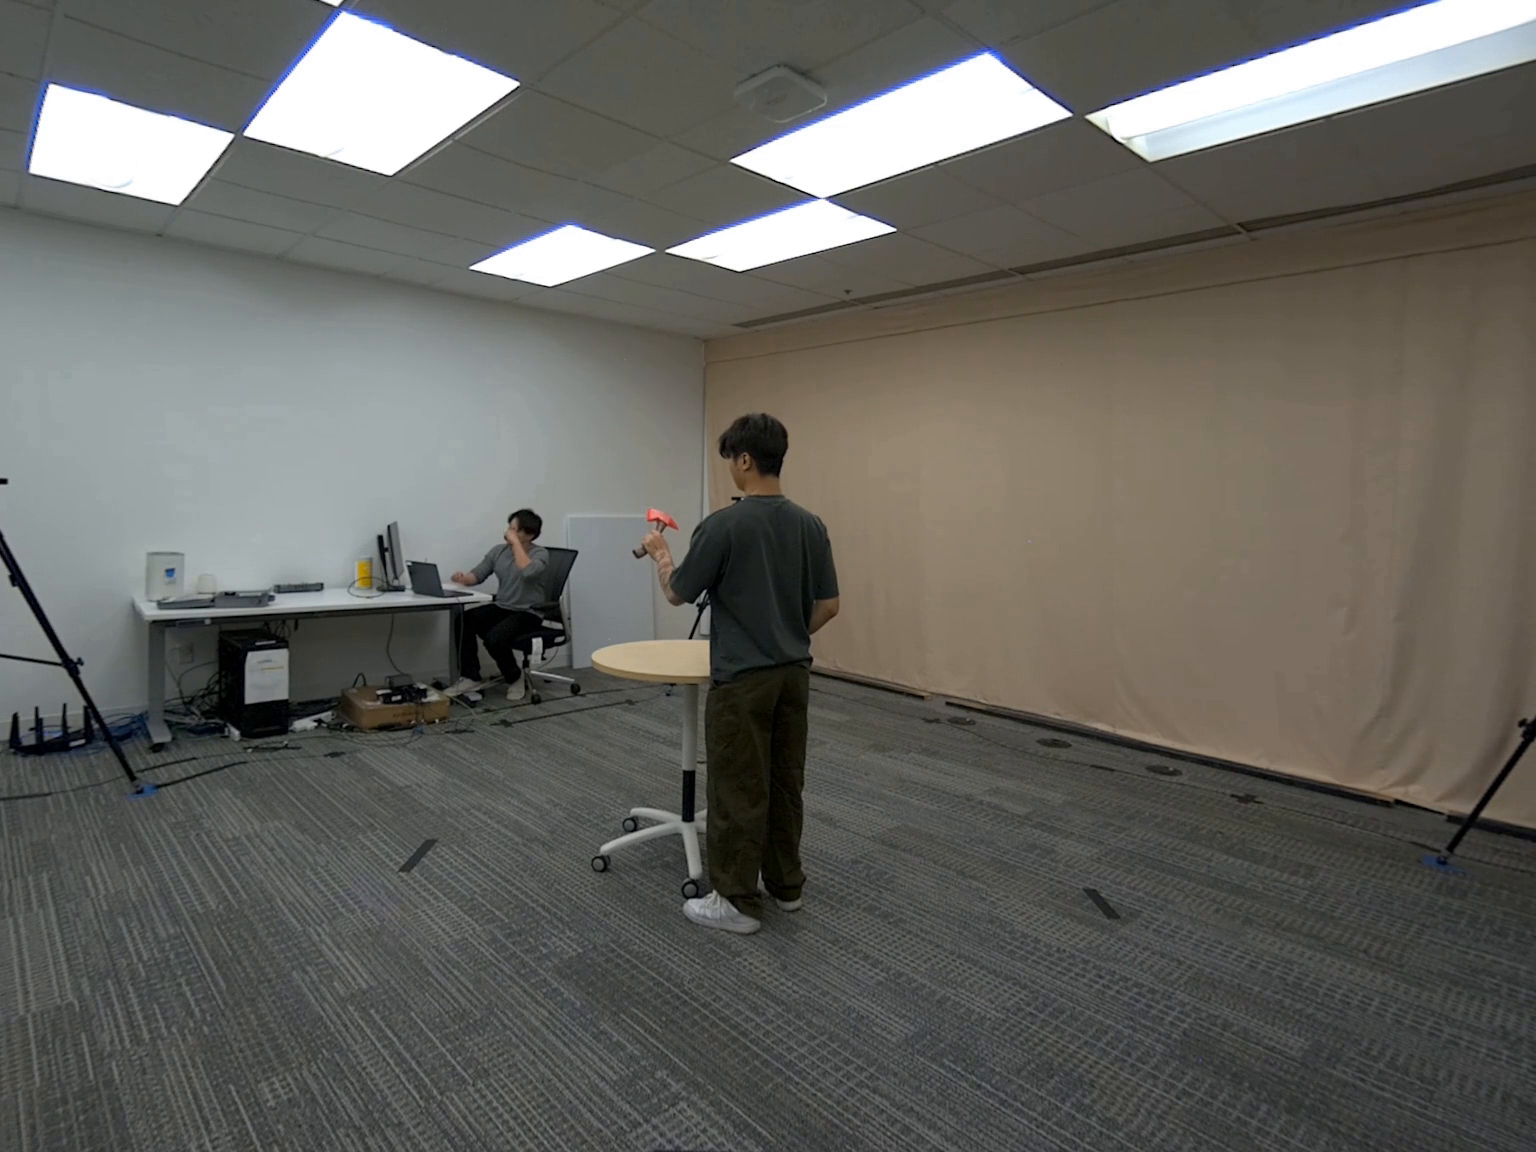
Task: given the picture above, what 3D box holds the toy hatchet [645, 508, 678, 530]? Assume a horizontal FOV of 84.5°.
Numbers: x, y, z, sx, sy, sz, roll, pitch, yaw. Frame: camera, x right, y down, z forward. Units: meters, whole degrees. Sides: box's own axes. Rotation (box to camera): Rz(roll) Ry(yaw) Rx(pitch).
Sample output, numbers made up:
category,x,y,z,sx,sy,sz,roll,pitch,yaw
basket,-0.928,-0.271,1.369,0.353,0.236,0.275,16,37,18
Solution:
category,x,y,z,sx,sy,sz,roll,pitch,yaw
toy hatchet,-0.430,-0.163,3.009,0.029,0.131,0.269,-48,-2,37
